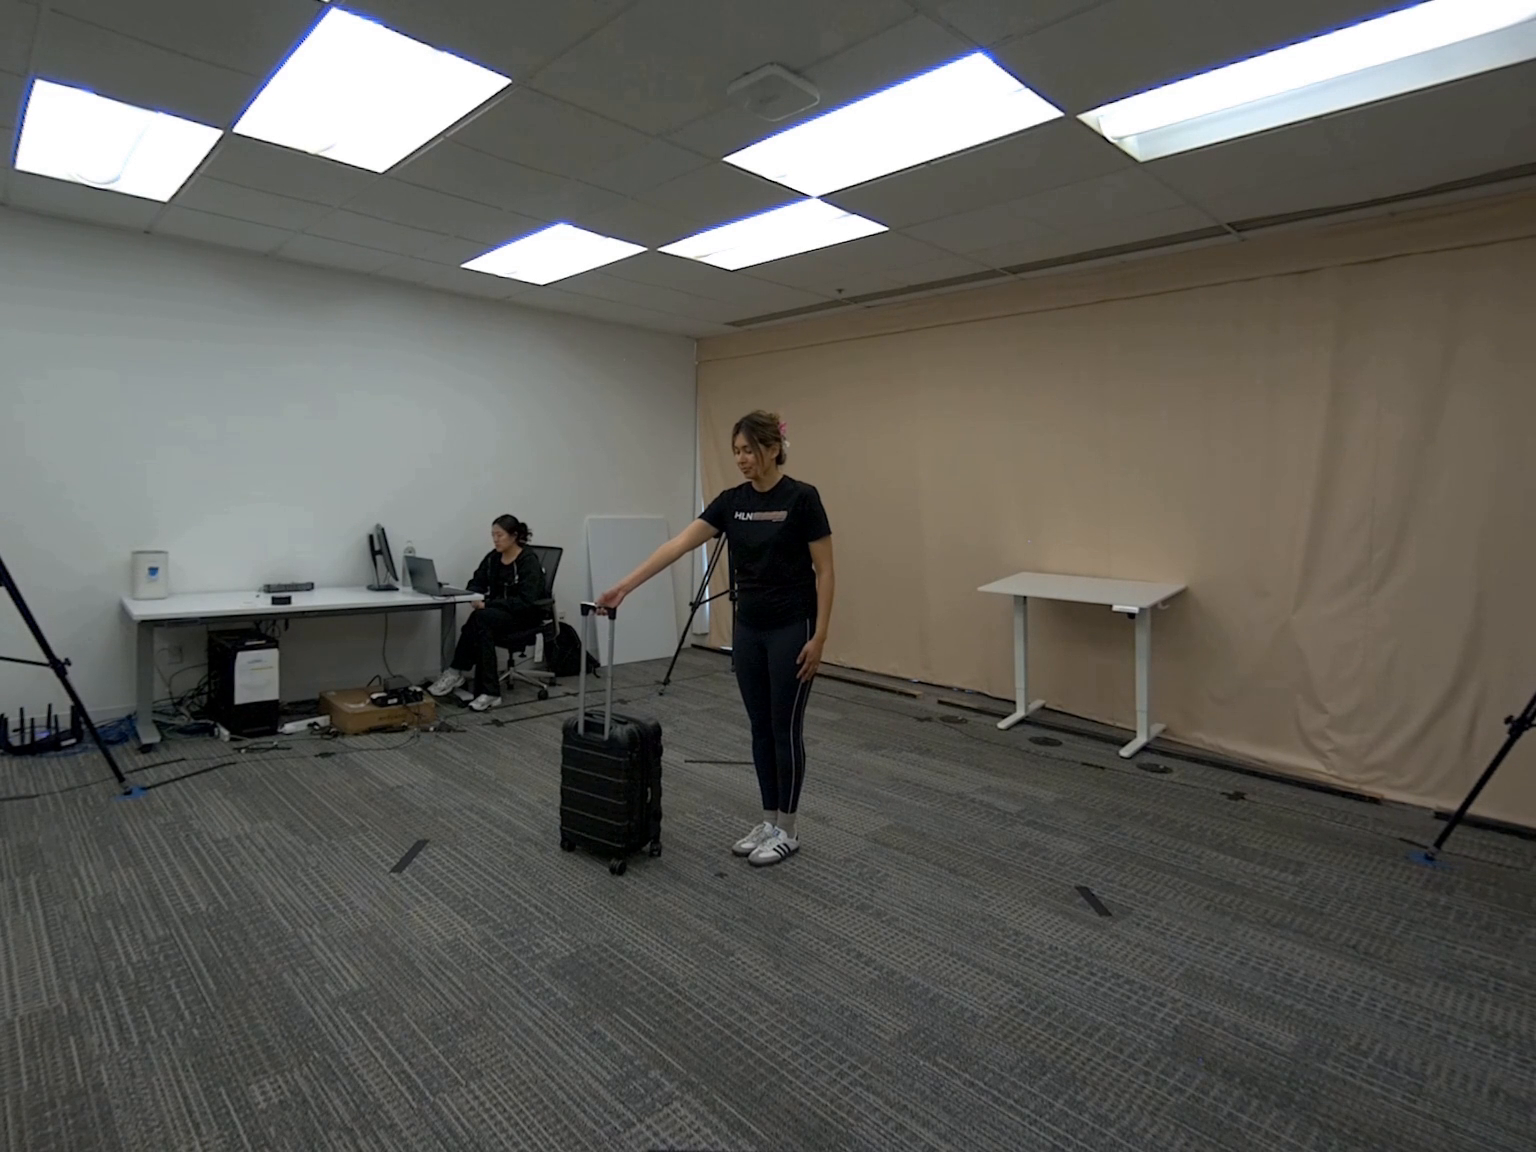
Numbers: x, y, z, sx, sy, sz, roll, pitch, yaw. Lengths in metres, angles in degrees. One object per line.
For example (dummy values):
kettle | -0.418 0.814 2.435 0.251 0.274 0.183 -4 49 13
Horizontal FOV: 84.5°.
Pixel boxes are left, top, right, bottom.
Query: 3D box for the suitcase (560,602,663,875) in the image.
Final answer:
suitcase | -0.612 0.606 3.250 0.392 0.978 0.252 3 1 30
